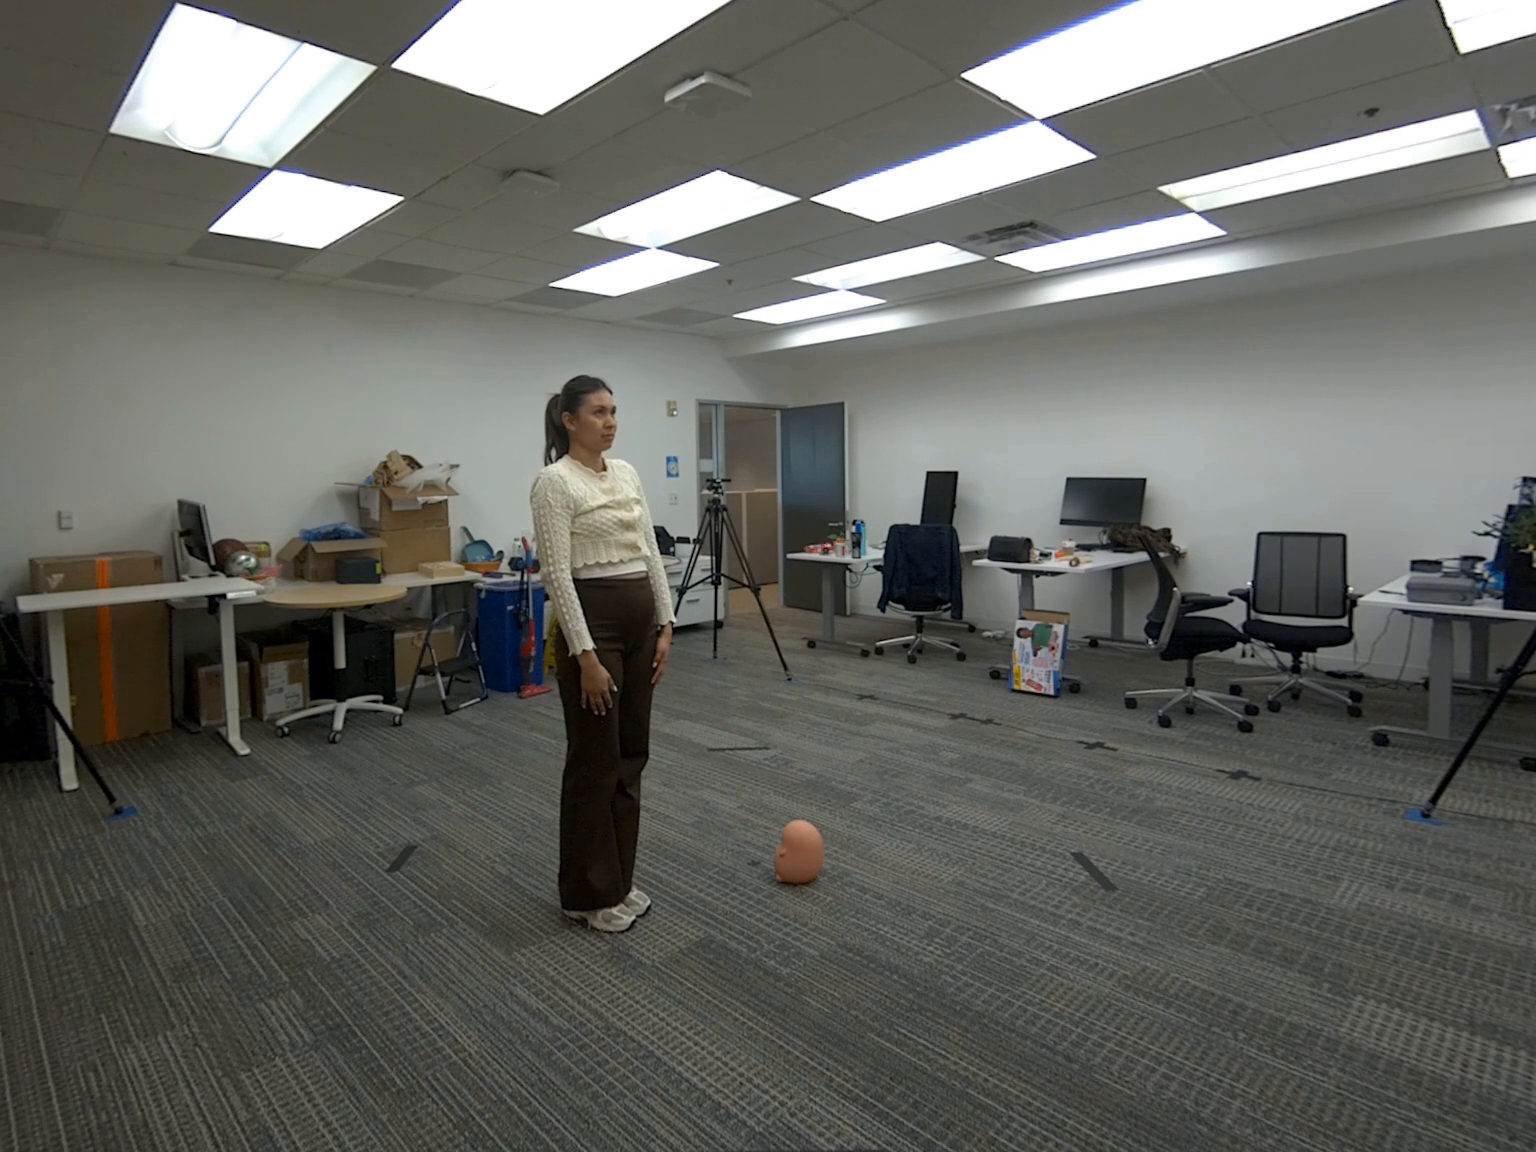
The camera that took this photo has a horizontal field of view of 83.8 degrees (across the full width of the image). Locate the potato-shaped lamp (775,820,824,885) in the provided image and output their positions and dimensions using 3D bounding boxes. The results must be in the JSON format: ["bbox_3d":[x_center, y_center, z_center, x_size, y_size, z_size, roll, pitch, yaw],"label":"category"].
[{"bbox_3d":[0.108,0.956,2.982,0.173,0.197,0.164,1,5,8],"label":"potato-shaped lamp"}]
